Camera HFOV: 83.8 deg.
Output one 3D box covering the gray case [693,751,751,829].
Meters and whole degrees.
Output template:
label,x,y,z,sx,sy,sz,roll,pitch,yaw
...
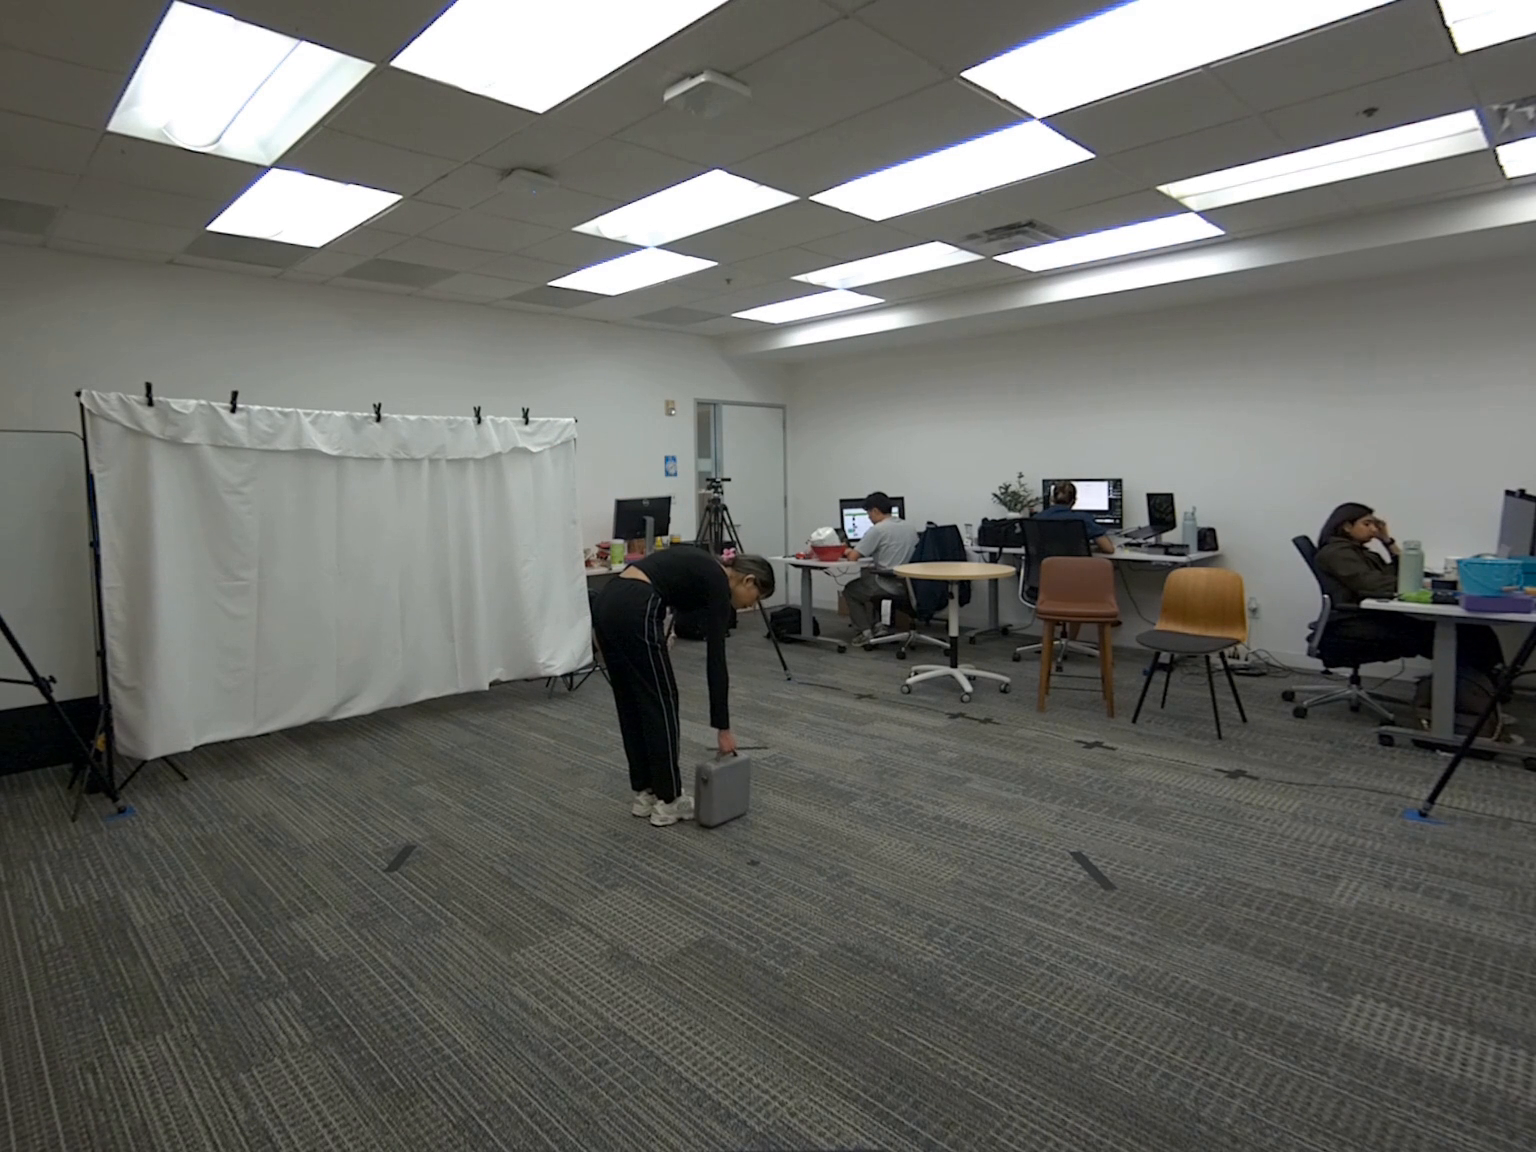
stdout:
label,x,y,z,sx,sy,sz,roll,pitch,yaw
gray case,-0.179,0.856,3.493,0.107,0.259,0.250,6,7,40
